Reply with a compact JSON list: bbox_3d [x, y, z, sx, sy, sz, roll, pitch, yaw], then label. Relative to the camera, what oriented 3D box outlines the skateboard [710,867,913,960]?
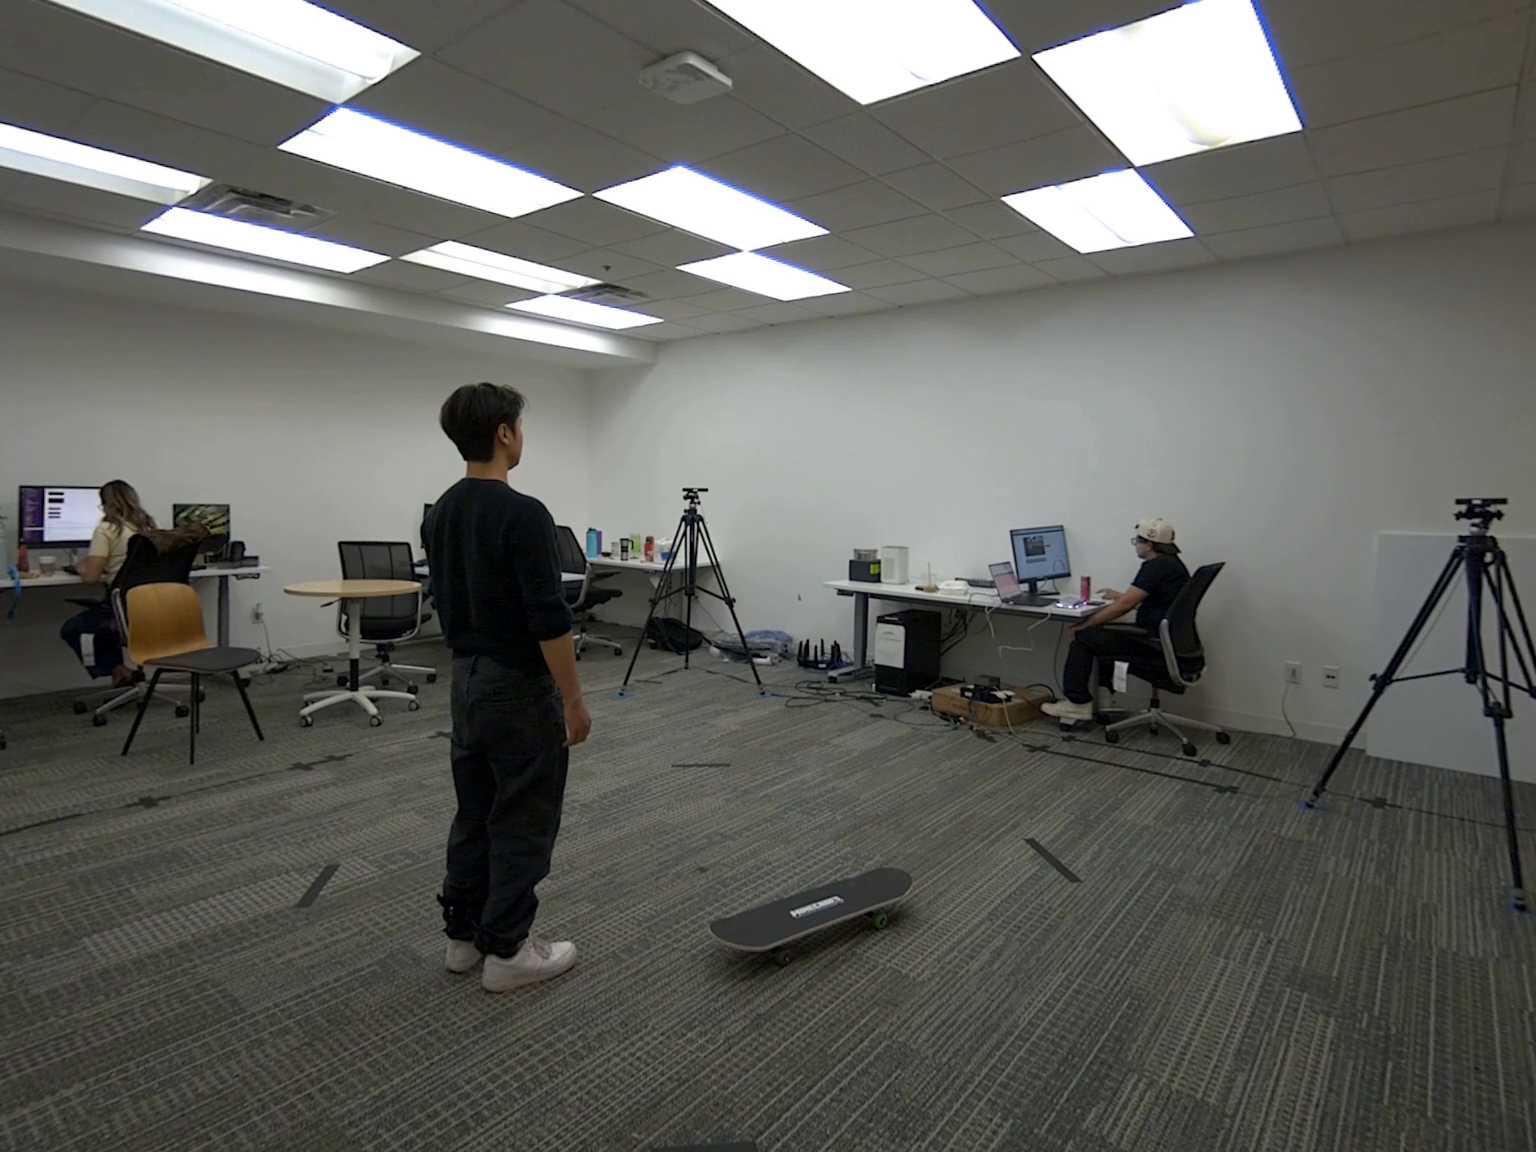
[{"bbox_3d":[0.155,1.067,2.660,0.762,0.110,0.200,-3,7,-36],"label":"skateboard"}]
